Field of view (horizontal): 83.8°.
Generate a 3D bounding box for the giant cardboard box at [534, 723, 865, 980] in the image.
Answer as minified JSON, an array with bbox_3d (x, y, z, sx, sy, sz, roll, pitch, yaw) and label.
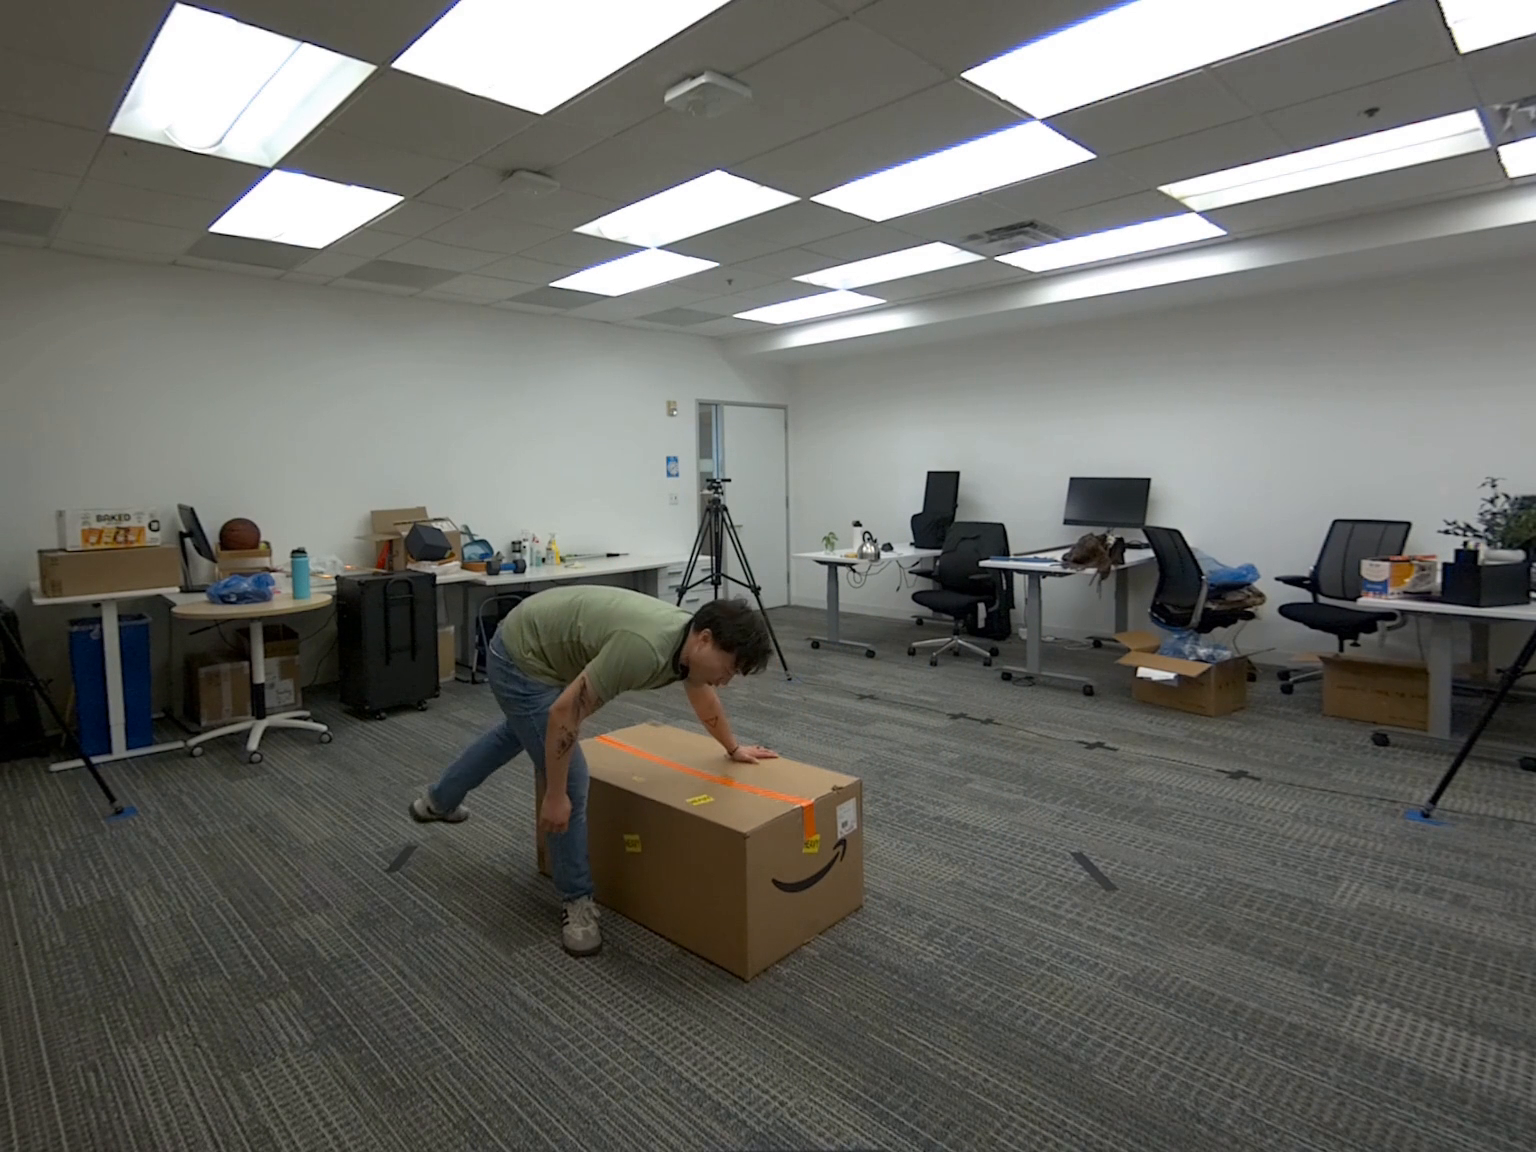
[{"bbox_3d":[-0.258,0.857,2.922,1.058,0.424,0.562,5,8,42],"label":"giant cardboard box"}]
